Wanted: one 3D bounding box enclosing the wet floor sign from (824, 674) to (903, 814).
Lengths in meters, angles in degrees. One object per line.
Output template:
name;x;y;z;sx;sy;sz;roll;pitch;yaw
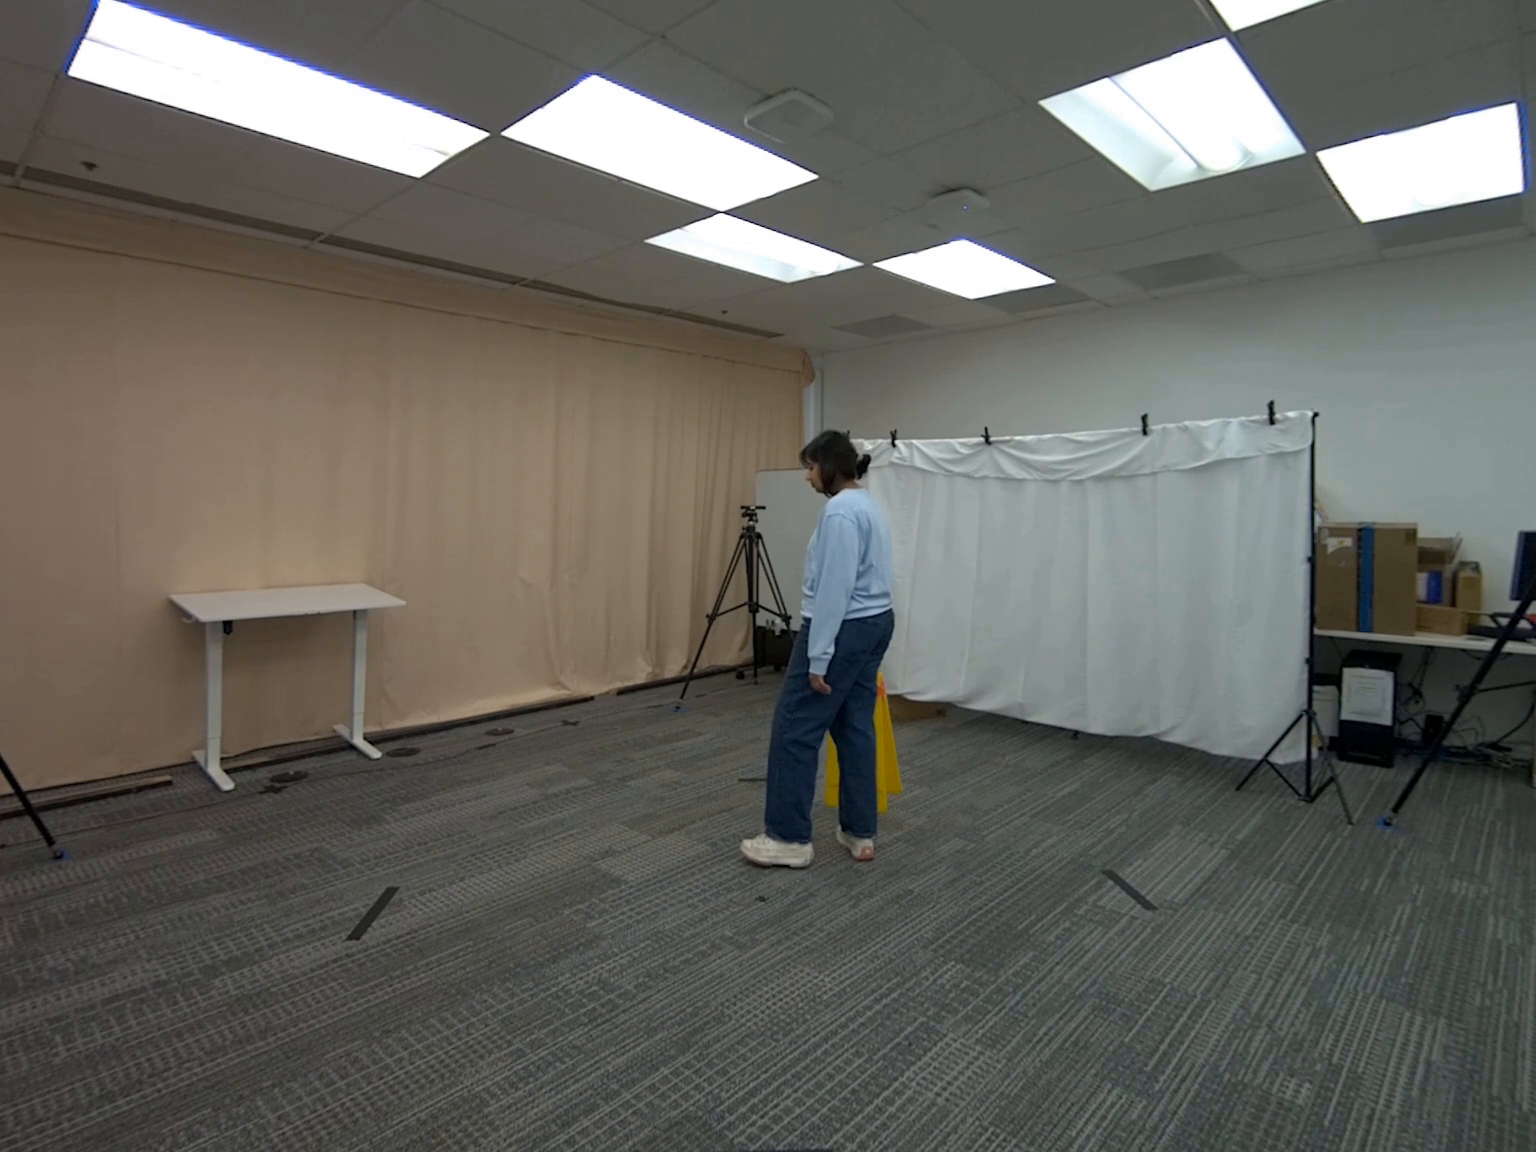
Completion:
wet floor sign;0.406;0.672;3.718;0.289;0.644;0.283;-2;5;27
